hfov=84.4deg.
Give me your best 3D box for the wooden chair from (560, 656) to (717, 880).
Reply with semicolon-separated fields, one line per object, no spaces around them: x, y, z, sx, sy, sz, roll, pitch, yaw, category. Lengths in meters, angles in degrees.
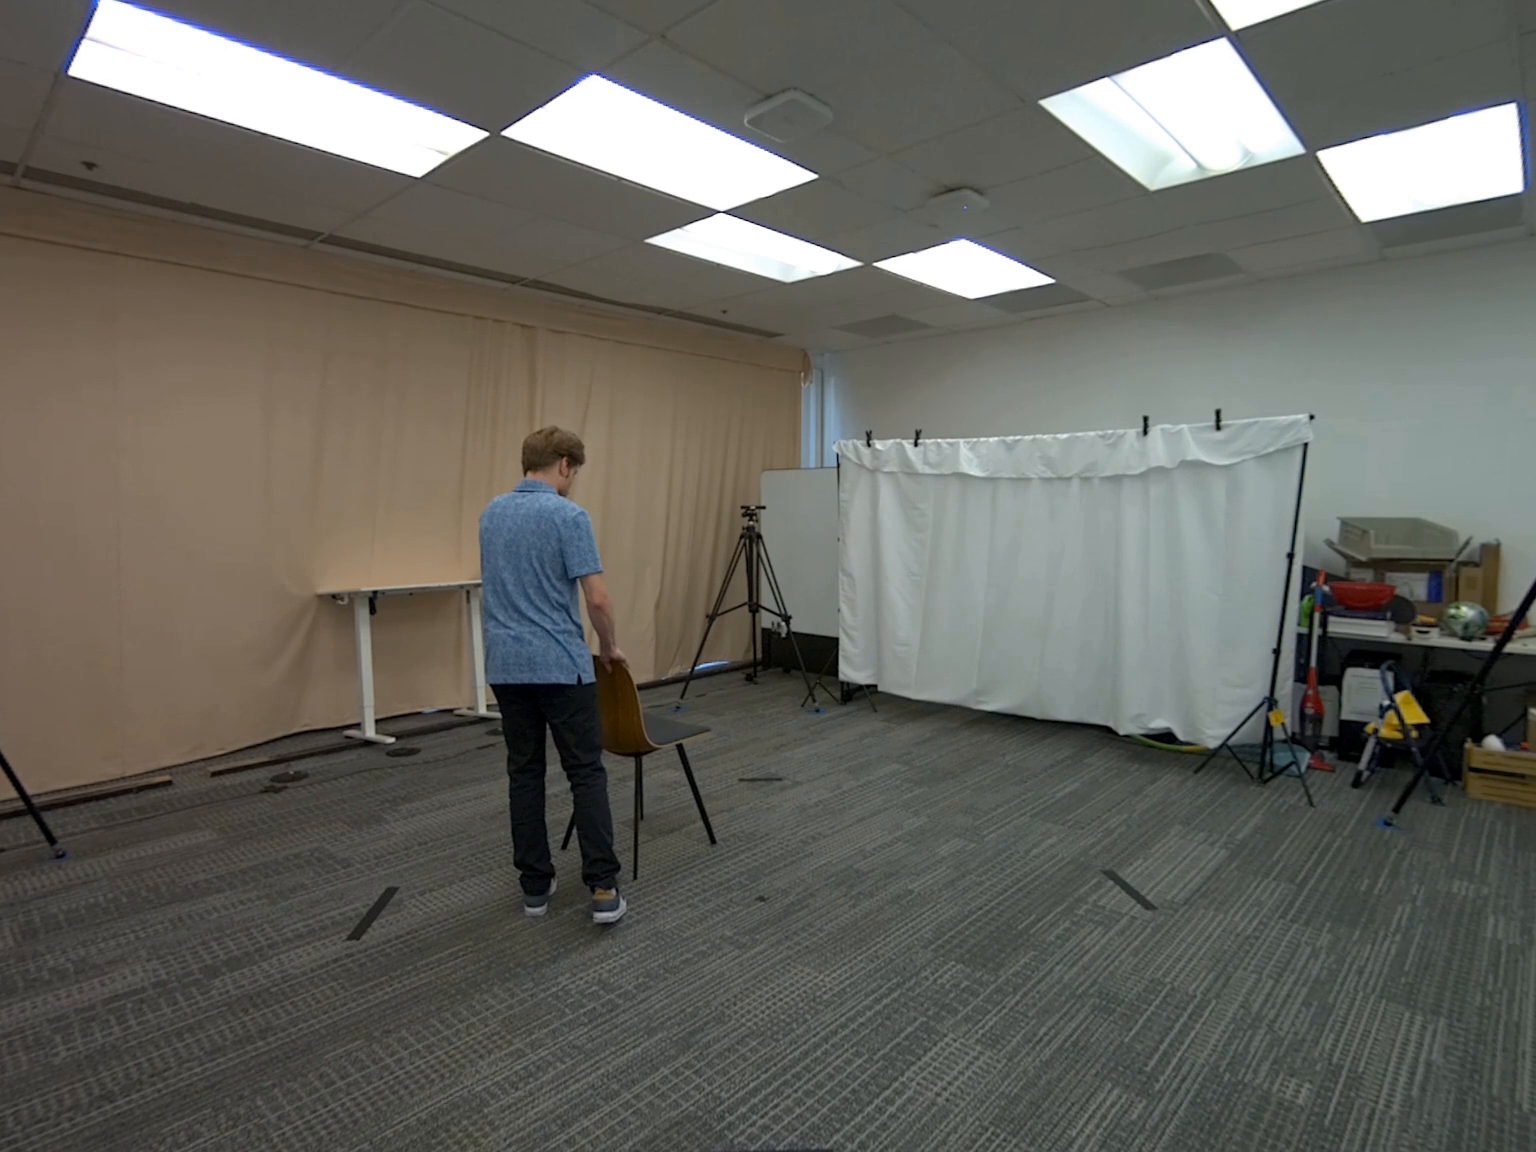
-0.524;0.680;3.427;0.494;0.873;0.508;2;8;40;wooden chair
